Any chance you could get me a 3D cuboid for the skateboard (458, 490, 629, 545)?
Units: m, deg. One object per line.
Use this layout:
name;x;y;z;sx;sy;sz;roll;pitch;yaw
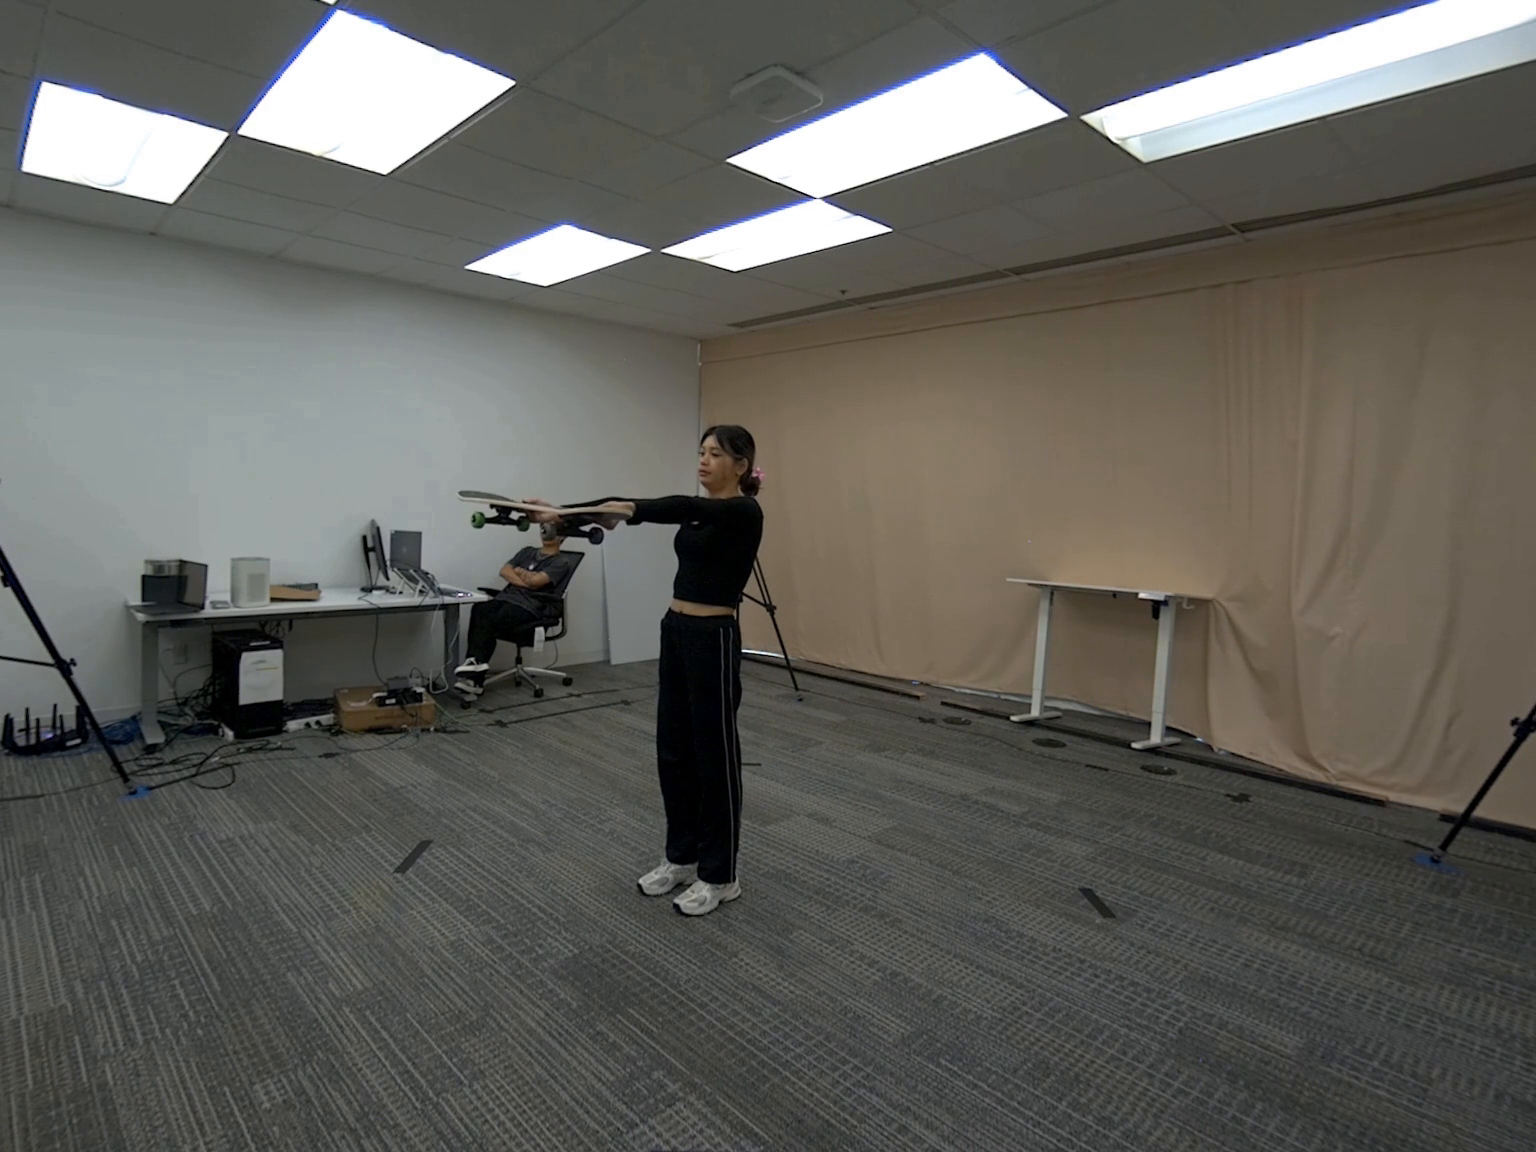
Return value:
skateboard;-0.673;-0.171;2.431;0.188;0.110;0.807;4;5;-45
